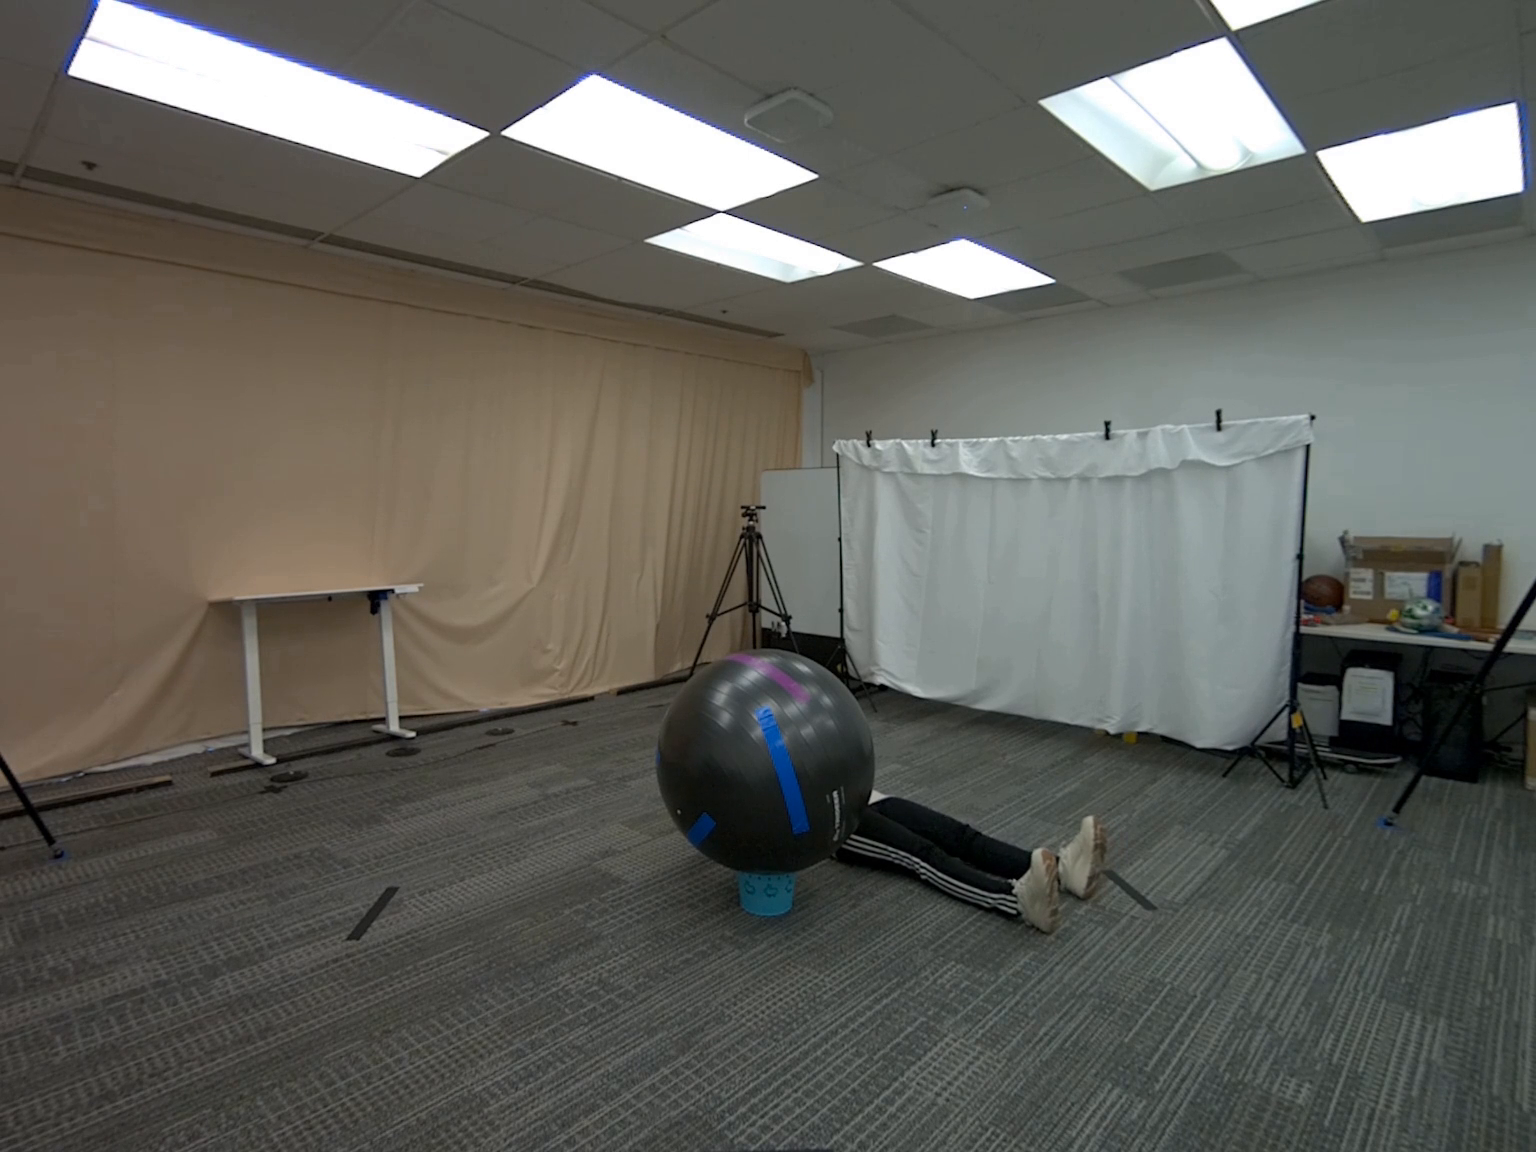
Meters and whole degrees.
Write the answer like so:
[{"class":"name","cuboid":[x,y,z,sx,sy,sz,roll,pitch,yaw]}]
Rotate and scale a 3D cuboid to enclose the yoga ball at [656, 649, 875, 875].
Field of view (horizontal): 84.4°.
[{"class":"yoga ball","cuboid":[-0.007,0.635,2.929,0.757,0.756,0.760,0,4,-2]}]
